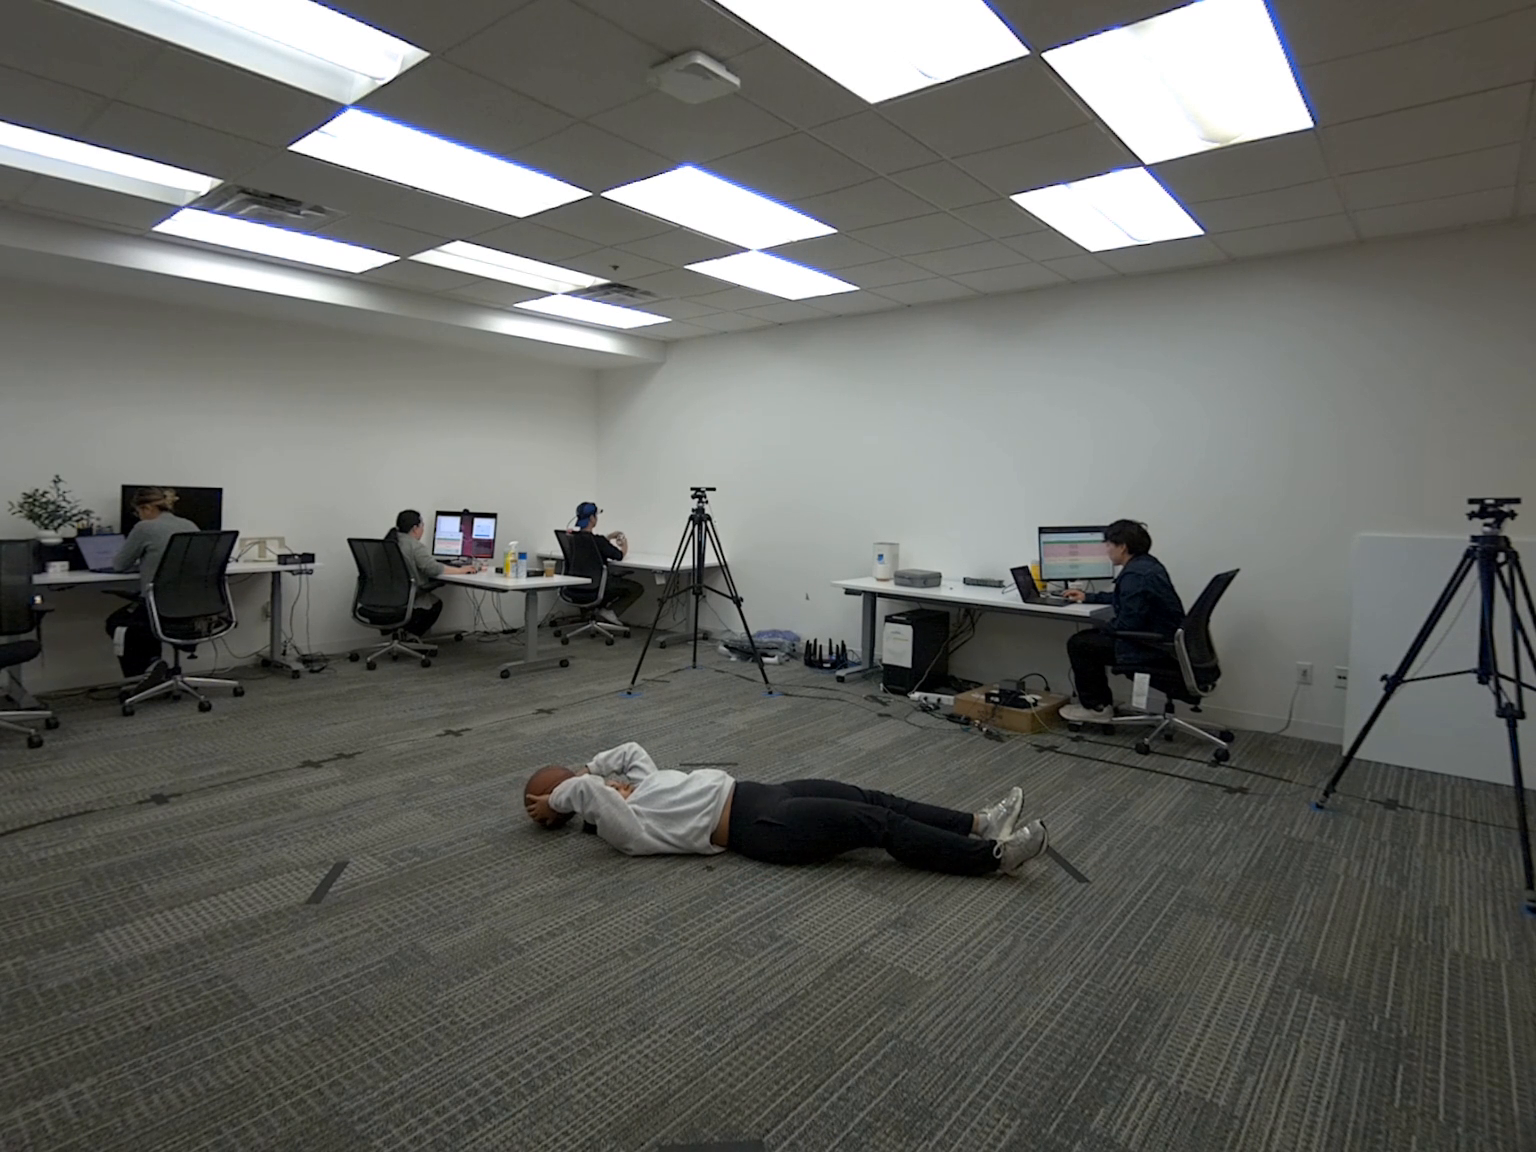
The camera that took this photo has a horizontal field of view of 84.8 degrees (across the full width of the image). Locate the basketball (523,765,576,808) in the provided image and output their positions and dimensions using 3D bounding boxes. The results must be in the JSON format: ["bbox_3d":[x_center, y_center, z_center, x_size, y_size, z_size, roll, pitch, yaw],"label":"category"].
[{"bbox_3d":[-0.892,0.896,3.490,0.236,0.234,0.238,-2,8,-2],"label":"basketball"}]
